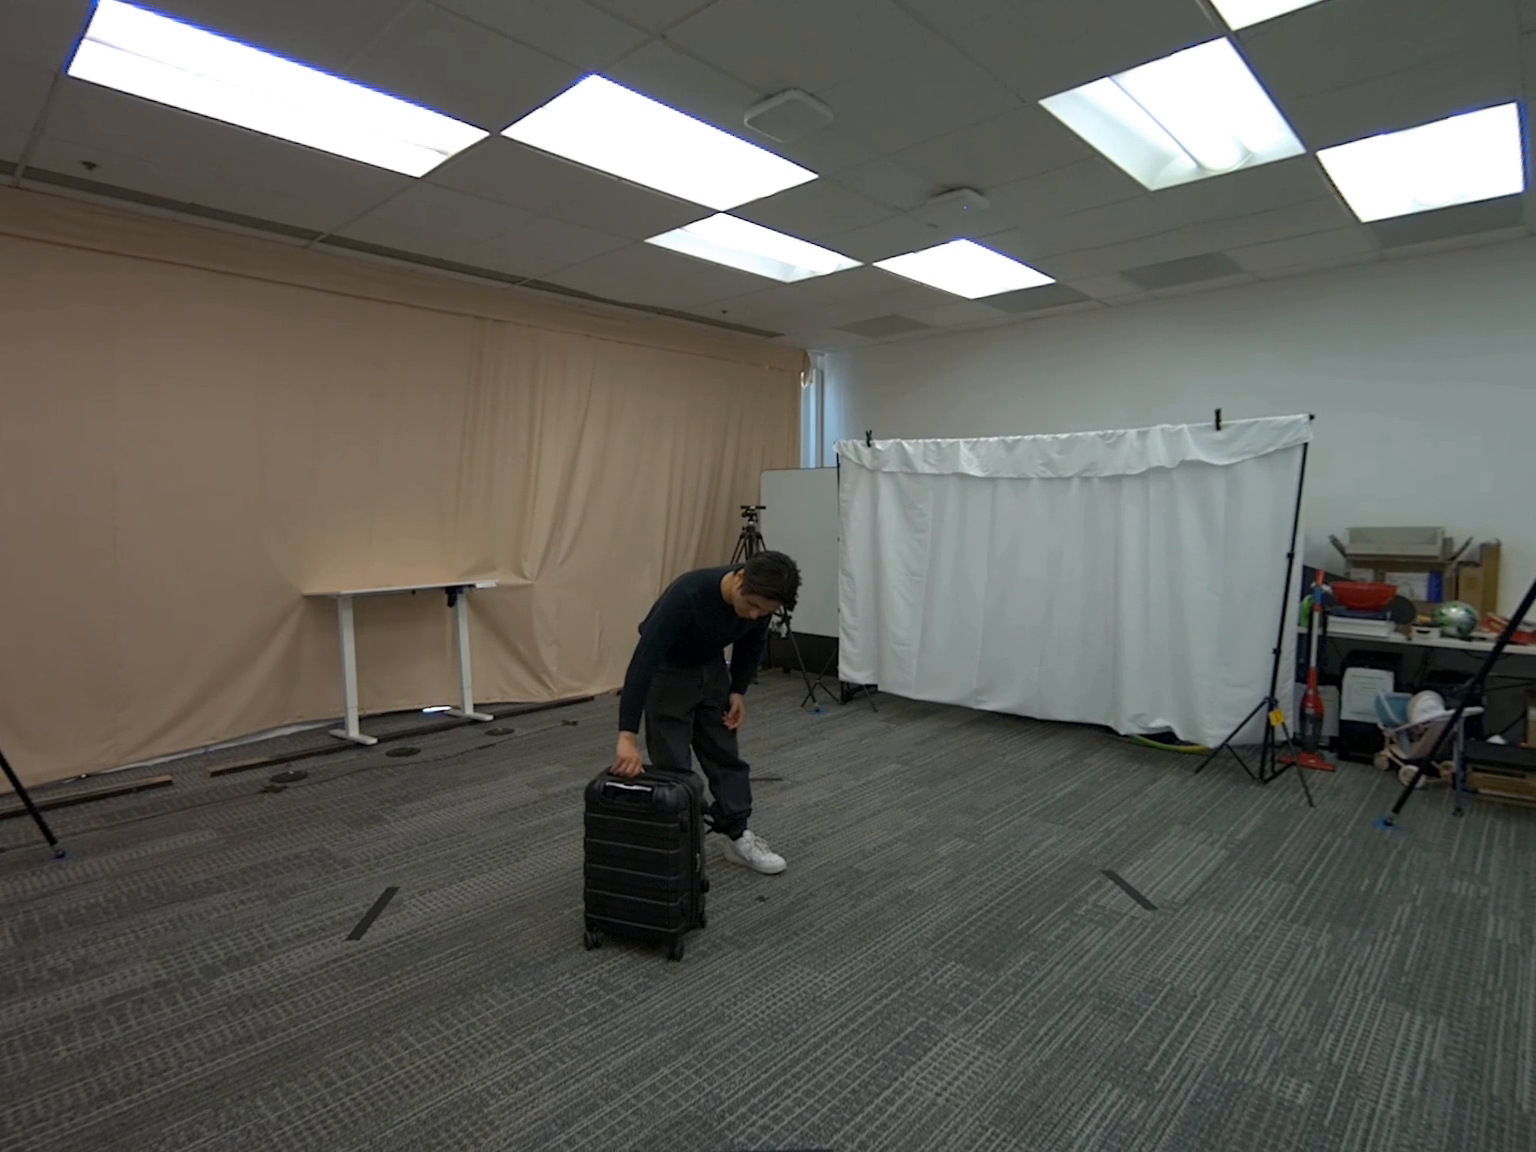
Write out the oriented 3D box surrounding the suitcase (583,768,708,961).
[{"bbox_3d":[-0.398,0.889,2.717,0.384,0.548,0.243,-1,2,21],"label":"suitcase"}]
